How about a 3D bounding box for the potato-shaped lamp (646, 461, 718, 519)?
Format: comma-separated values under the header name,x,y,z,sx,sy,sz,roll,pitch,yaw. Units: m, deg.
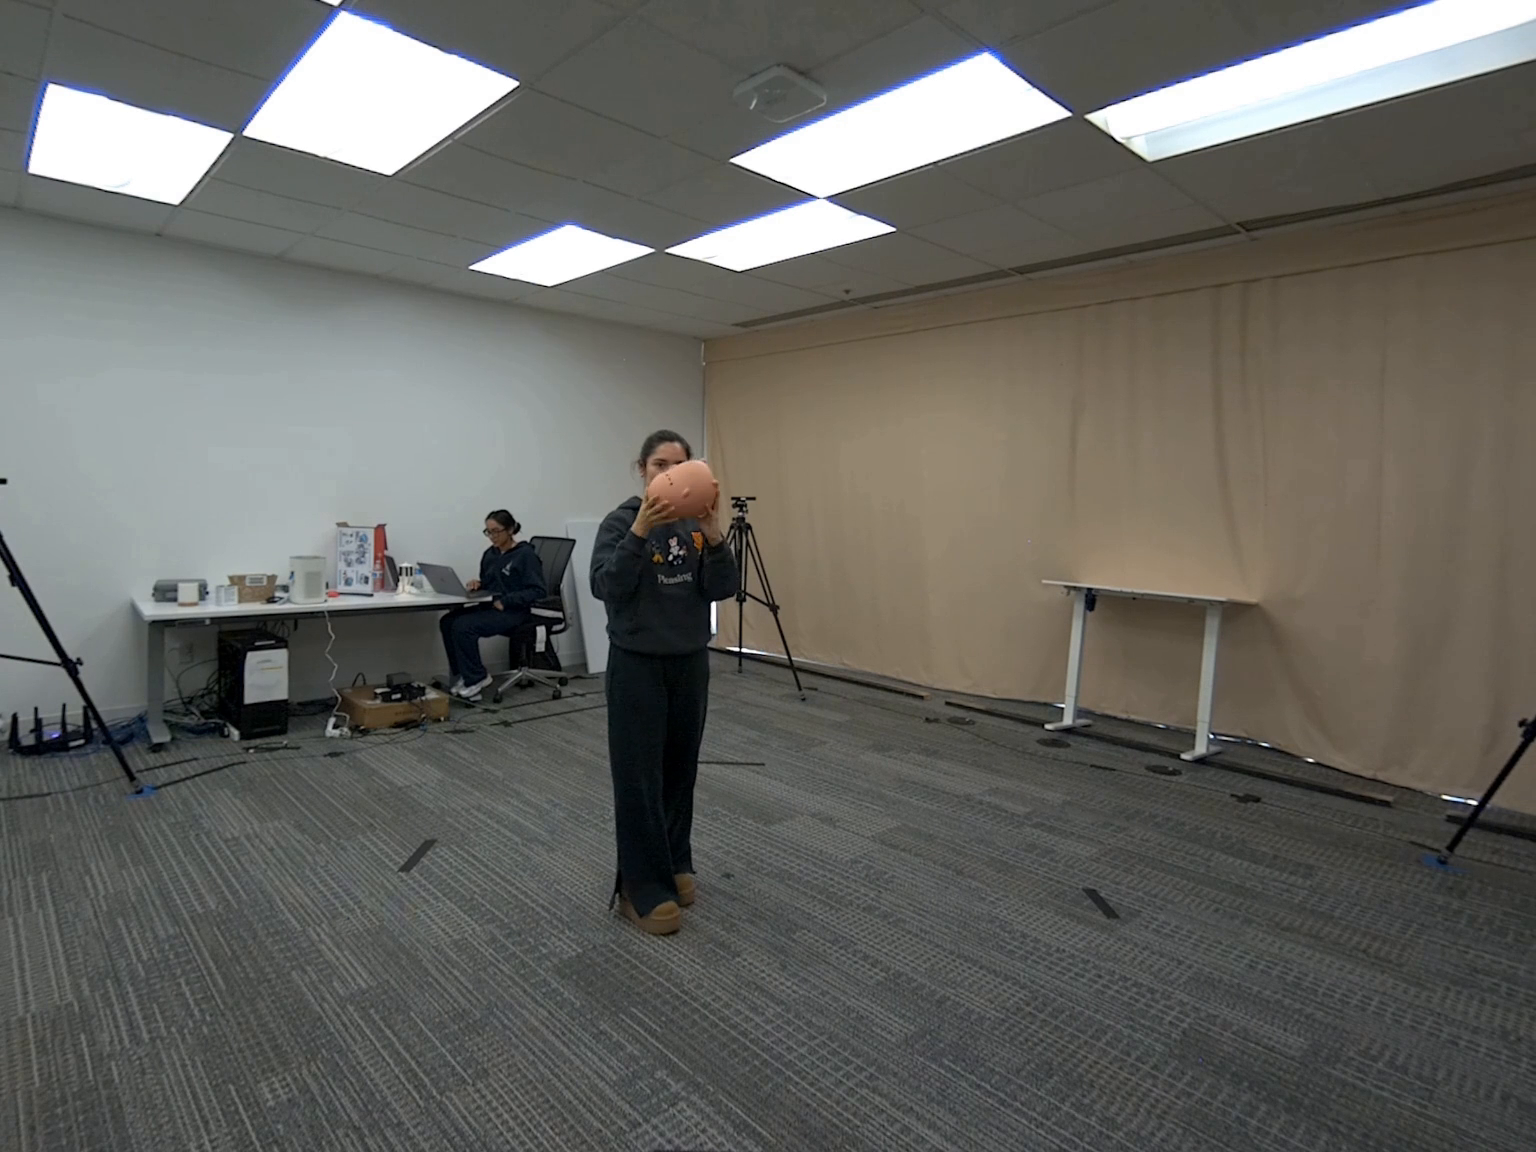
name,x,y,z,sx,sy,sz,roll,pitch,yaw
potato-shaped lamp,-0.269,-0.250,2.547,0.195,0.169,0.169,-13,53,-24
